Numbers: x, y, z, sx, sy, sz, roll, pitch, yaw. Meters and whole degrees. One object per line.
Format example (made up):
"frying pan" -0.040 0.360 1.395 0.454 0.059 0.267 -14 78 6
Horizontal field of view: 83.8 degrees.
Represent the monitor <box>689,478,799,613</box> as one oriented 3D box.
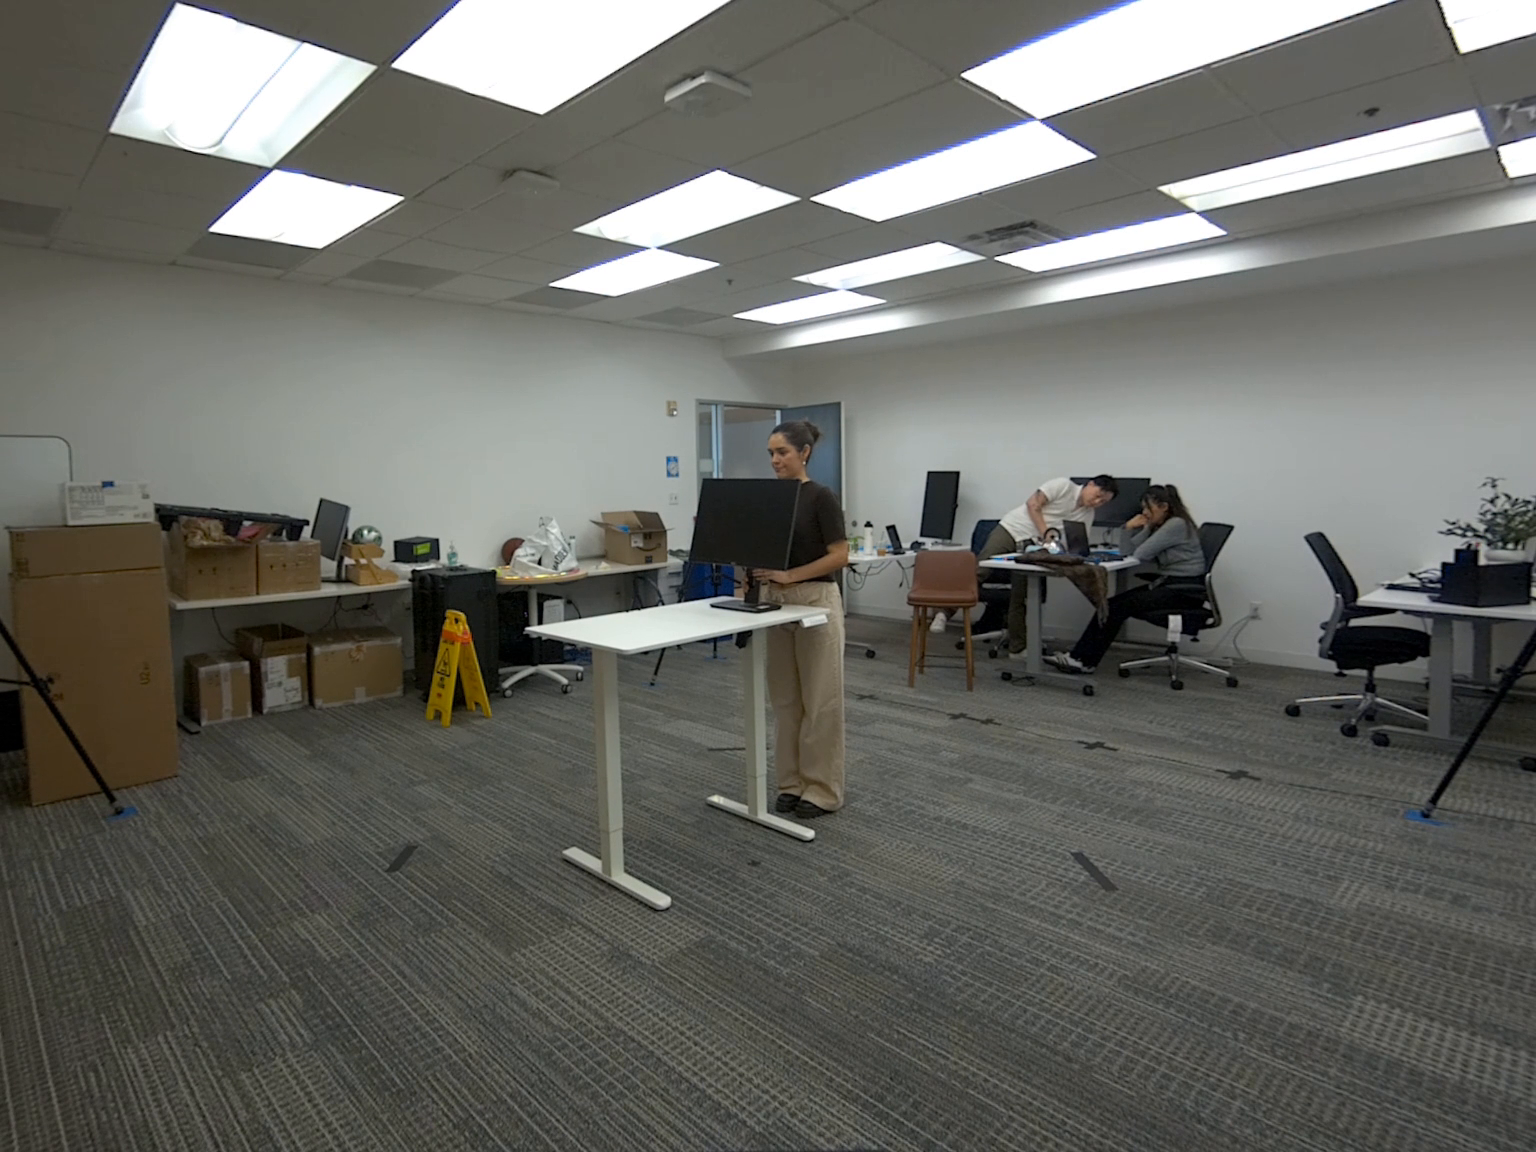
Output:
"monitor" -0.085 -0.129 3.390 0.547 0.513 0.170 6 10 43
